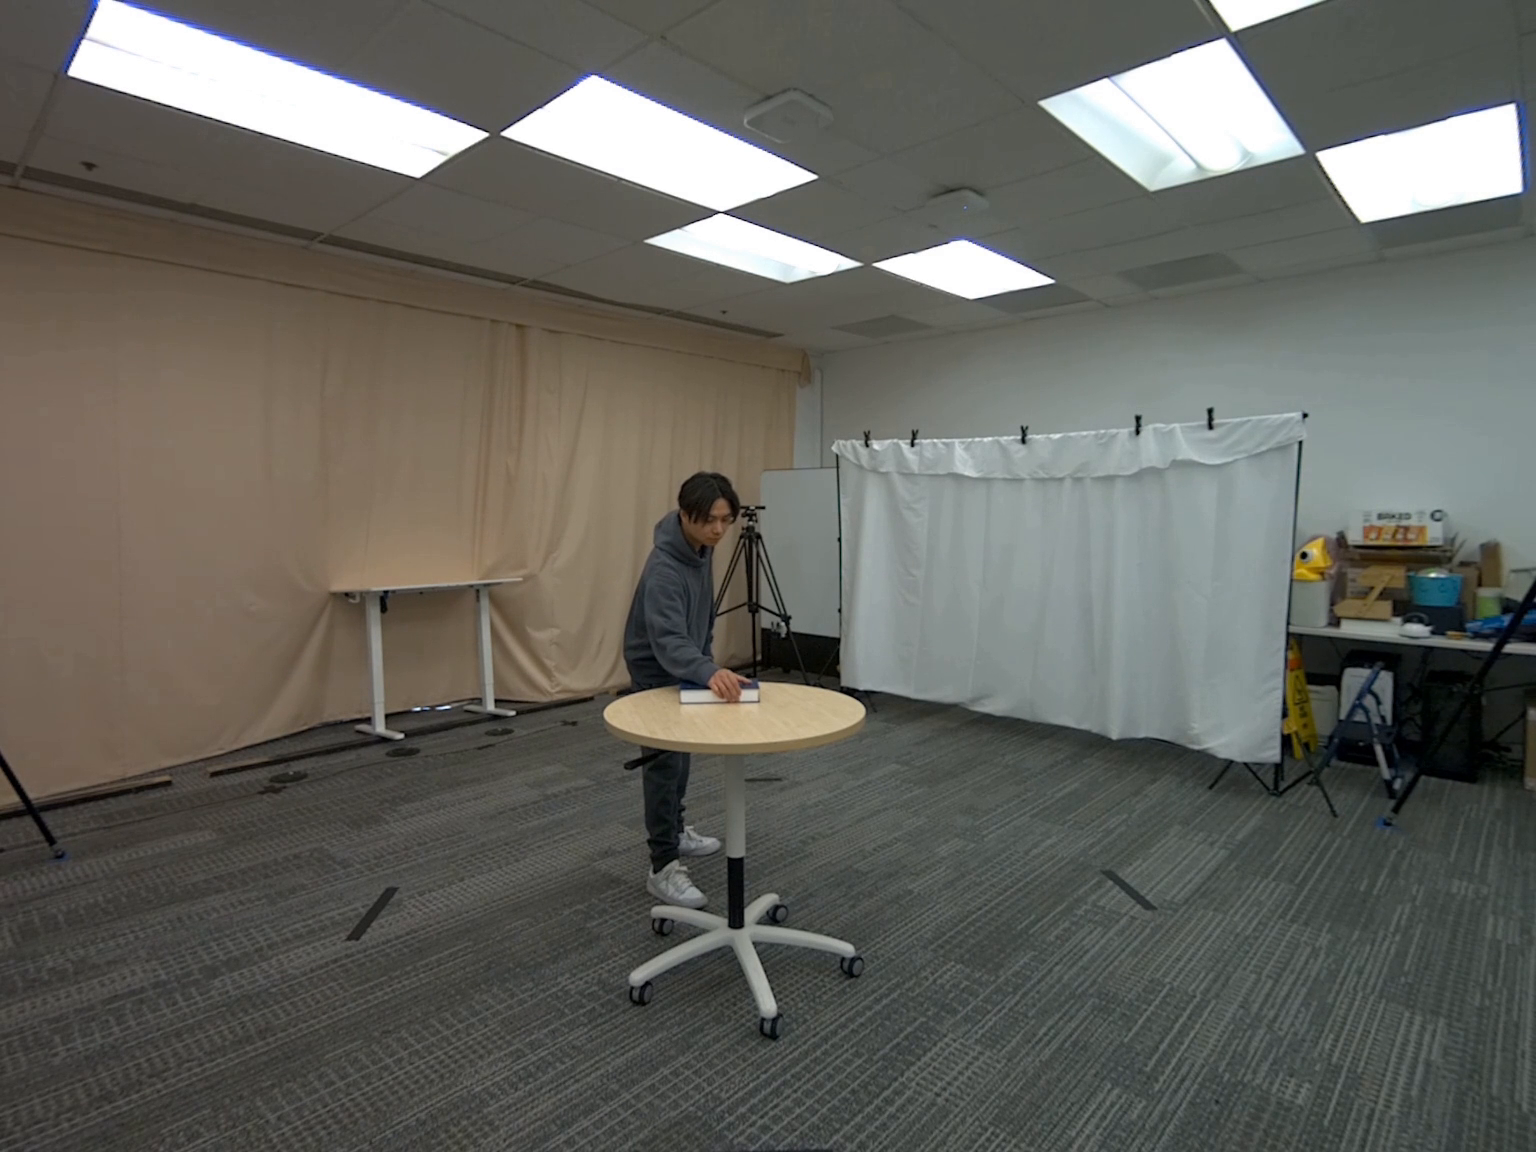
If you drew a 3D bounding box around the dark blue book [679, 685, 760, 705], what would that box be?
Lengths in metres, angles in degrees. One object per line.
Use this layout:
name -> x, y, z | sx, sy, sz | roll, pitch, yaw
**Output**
dark blue book -> -0.143, 0.357, 2.626 | 0.245, 0.045, 0.164 | -2, 2, -1
